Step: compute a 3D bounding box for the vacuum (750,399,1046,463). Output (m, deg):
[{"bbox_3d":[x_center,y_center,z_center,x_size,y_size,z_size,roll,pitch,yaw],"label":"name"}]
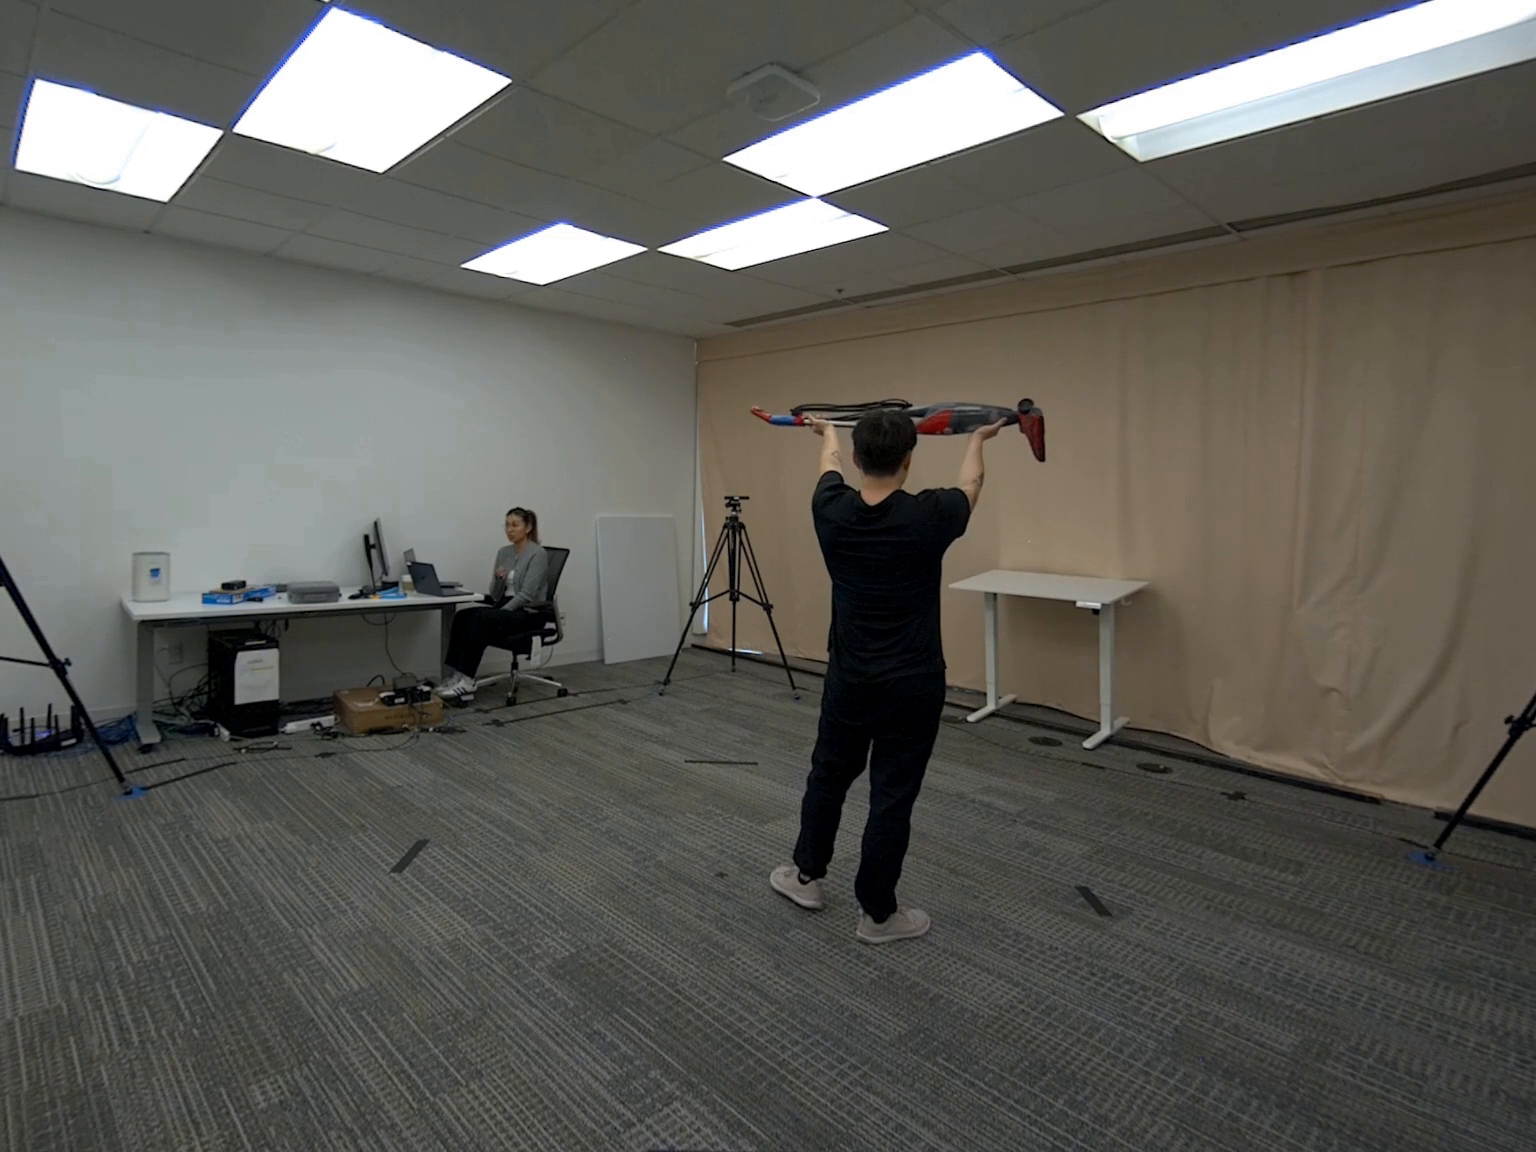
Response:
[{"bbox_3d":[0.418,-0.574,3.042,1.072,0.145,0.245,10,-21,26],"label":"vacuum"}]
